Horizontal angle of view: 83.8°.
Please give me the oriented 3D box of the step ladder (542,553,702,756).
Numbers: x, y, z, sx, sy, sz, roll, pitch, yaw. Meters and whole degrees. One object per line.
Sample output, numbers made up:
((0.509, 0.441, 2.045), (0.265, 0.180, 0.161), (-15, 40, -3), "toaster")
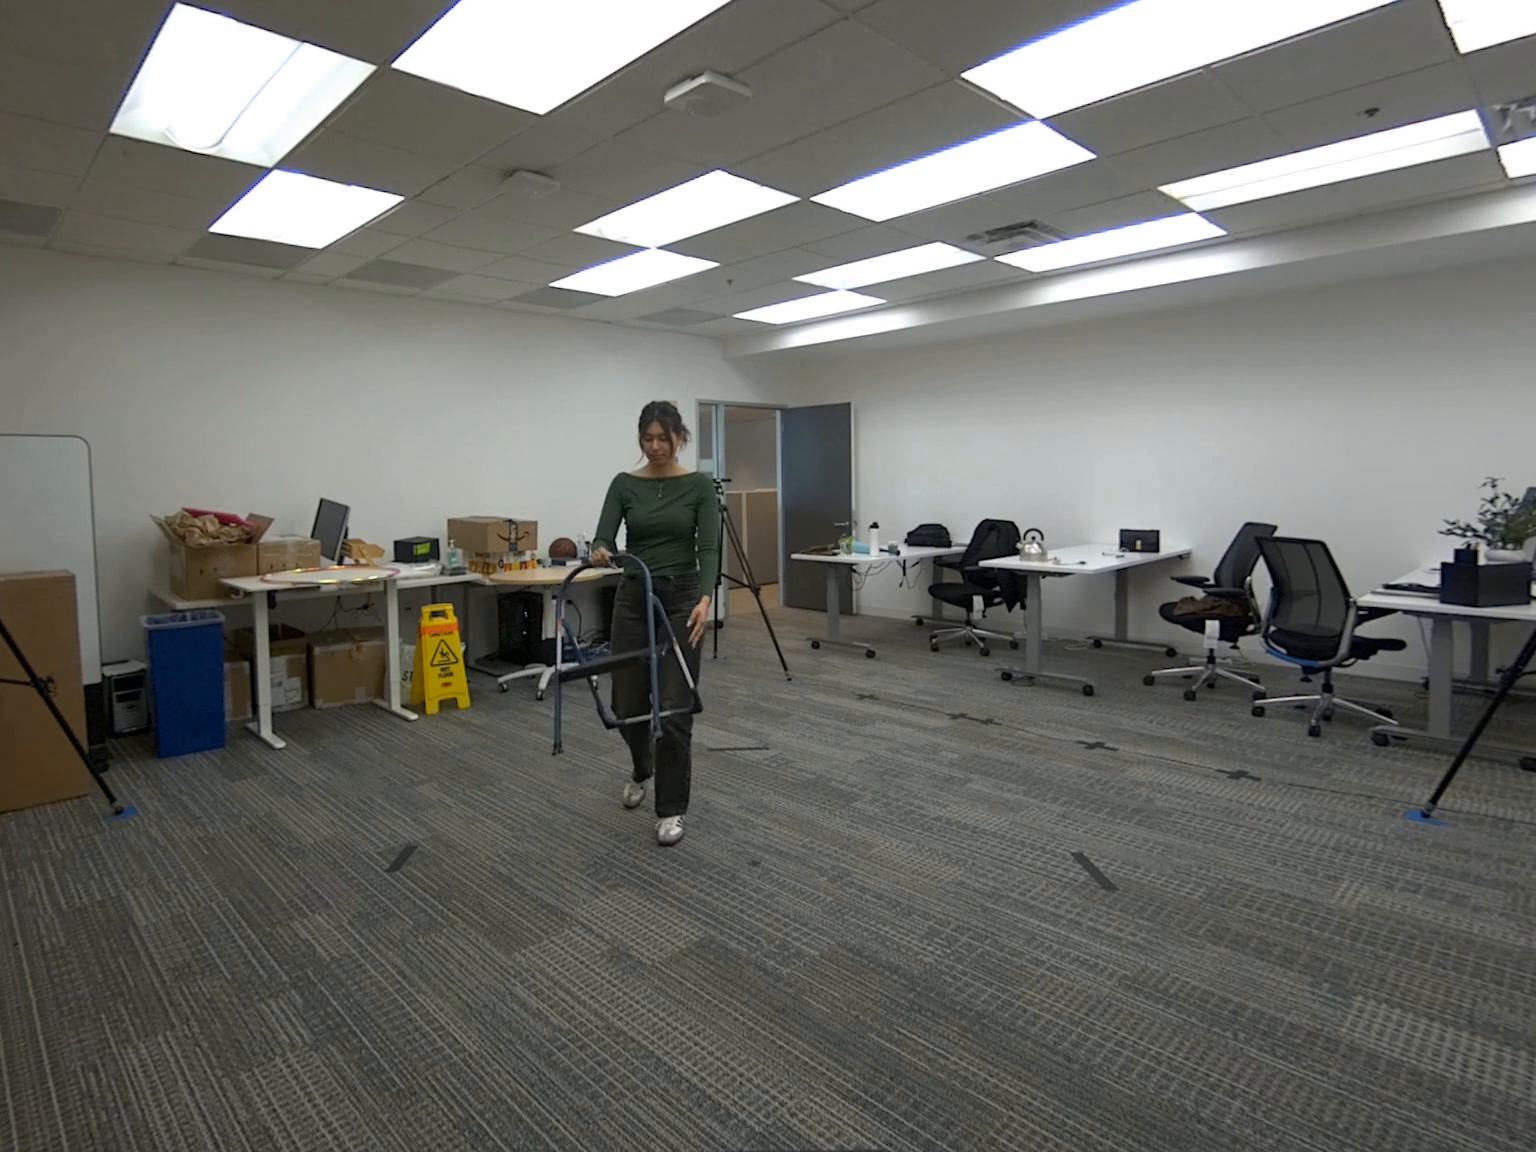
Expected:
((-0.550, 0.243, 2.941), (0.437, 0.608, 0.343), (-16, -3, 24), "step ladder")
